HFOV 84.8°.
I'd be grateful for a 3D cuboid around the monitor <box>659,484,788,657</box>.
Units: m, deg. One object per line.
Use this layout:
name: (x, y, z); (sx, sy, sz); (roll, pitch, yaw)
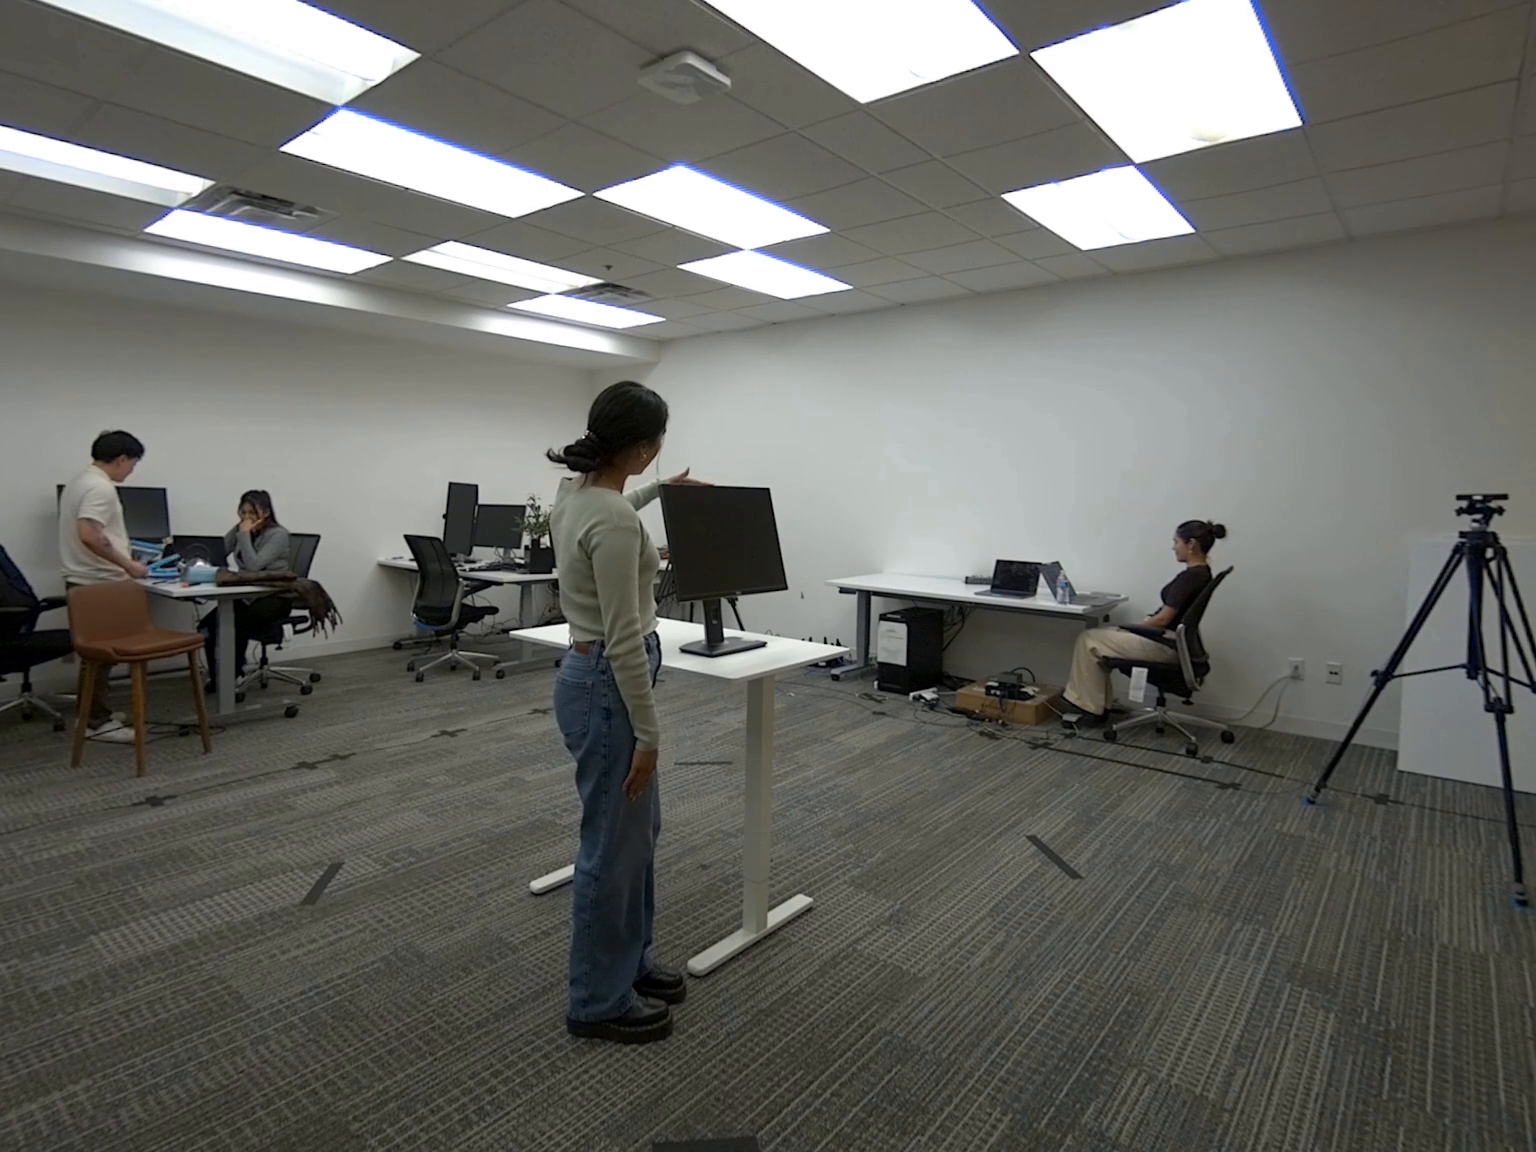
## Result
monitor: (-0.160, -0.025, 2.689); (0.193, 0.522, 0.523); (0, 3, 36)
